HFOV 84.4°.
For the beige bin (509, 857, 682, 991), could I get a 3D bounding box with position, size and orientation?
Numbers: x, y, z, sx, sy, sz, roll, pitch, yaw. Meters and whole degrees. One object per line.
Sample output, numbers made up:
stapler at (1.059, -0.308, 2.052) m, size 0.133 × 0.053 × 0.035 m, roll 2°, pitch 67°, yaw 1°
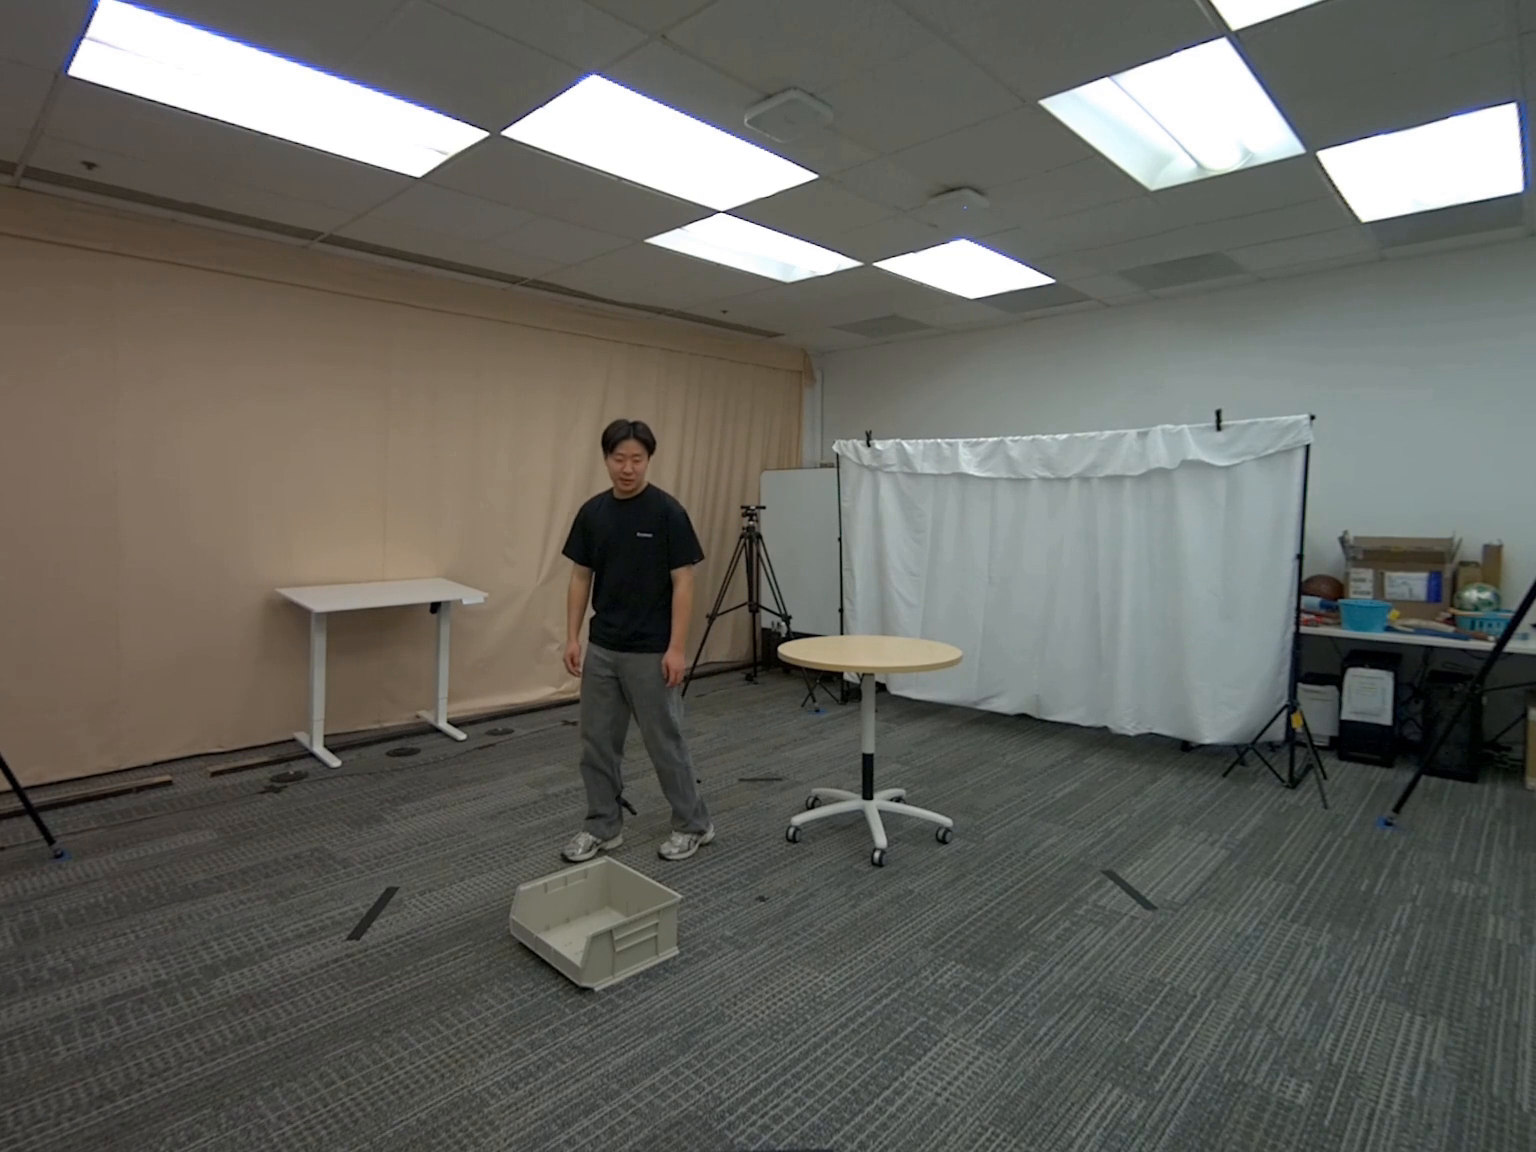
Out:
beige bin at (-0.540, 1.086, 2.649) m, size 0.366 × 0.188 × 0.436 m, roll -4°, pitch 5°, yaw -44°
